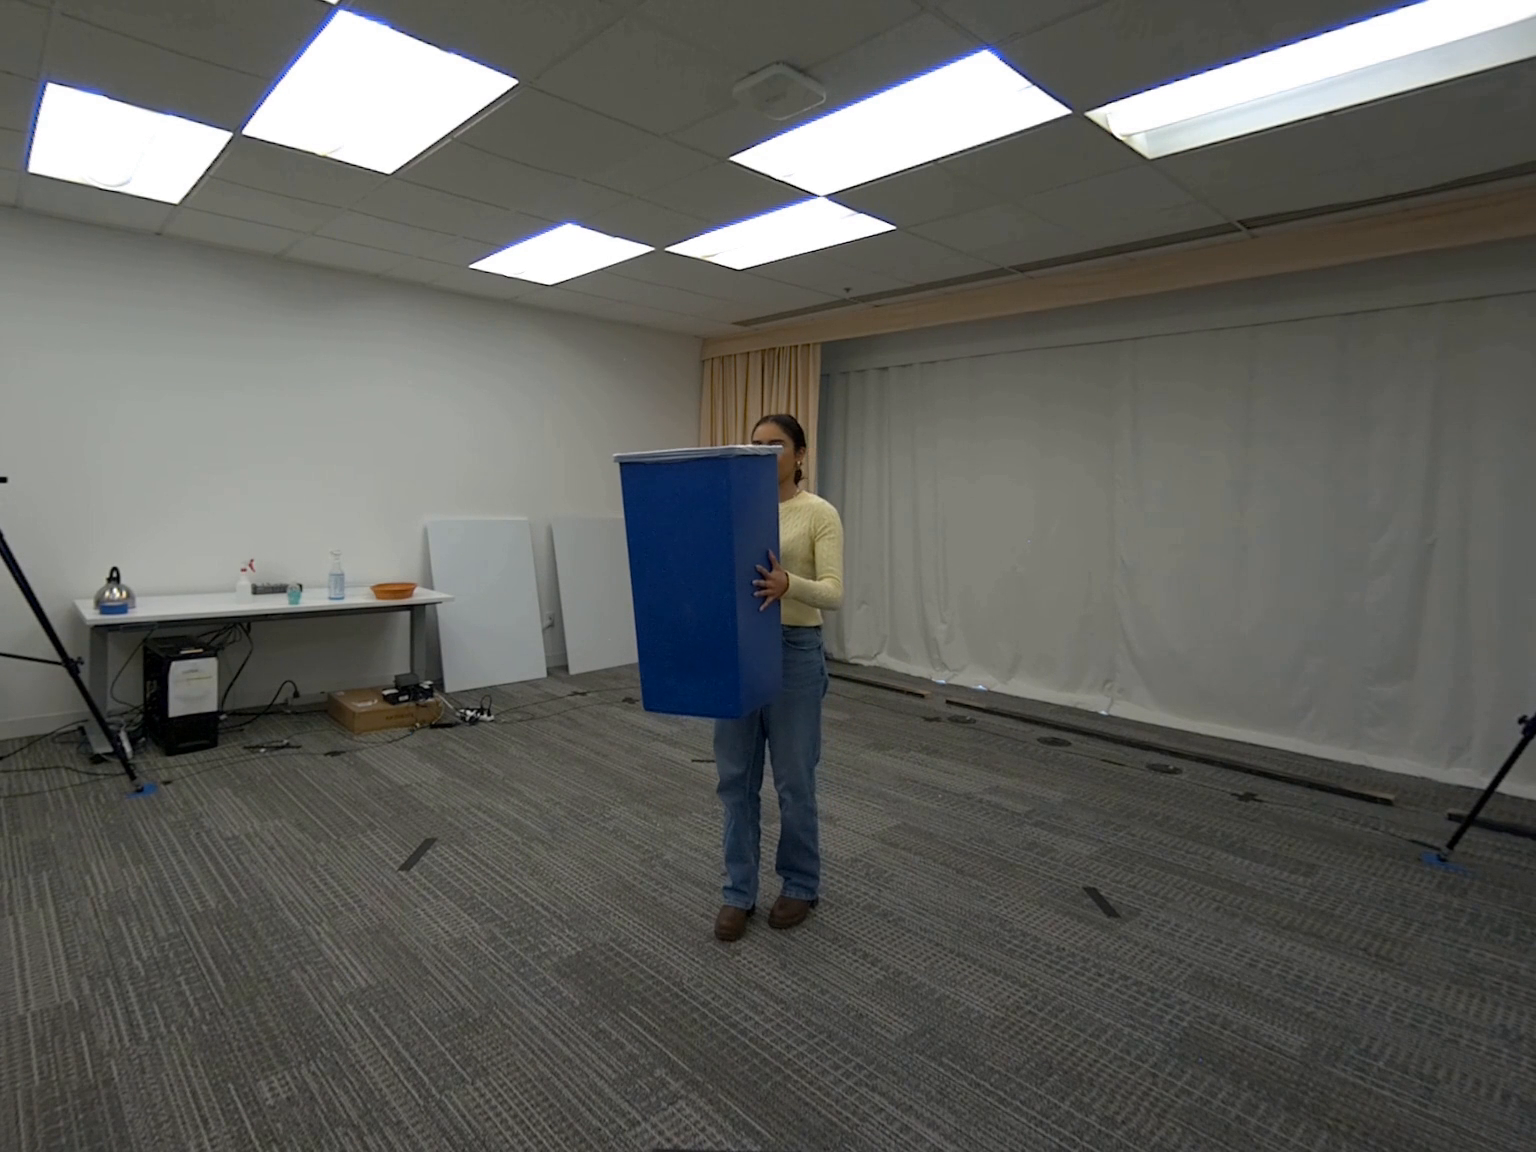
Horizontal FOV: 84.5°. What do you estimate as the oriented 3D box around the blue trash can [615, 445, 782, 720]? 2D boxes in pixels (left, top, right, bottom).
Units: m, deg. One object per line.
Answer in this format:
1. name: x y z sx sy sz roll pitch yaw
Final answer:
1. blue trash can: -0.170 0.004 2.352 0.385 0.711 0.368 -1 5 25
